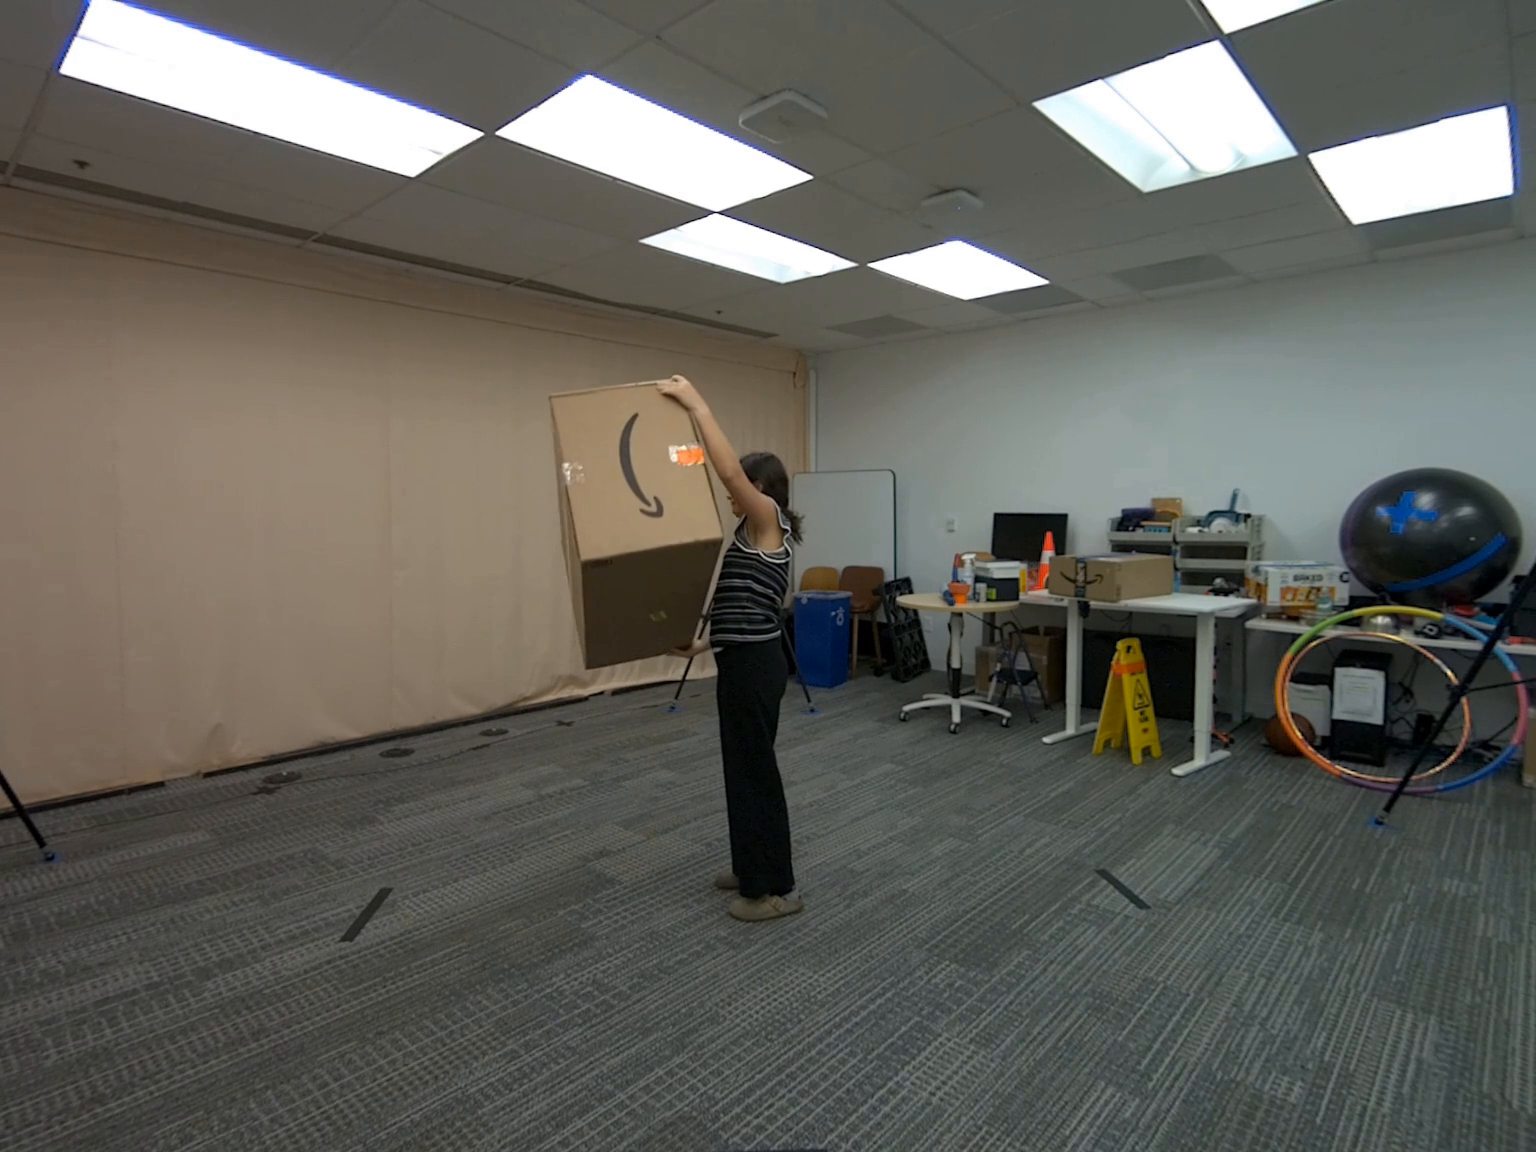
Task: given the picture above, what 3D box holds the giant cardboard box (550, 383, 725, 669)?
[{"bbox_3d":[-0.484,-0.132,2.969,0.421,0.588,1.019,-10,-22,-15],"label":"giant cardboard box"}]
